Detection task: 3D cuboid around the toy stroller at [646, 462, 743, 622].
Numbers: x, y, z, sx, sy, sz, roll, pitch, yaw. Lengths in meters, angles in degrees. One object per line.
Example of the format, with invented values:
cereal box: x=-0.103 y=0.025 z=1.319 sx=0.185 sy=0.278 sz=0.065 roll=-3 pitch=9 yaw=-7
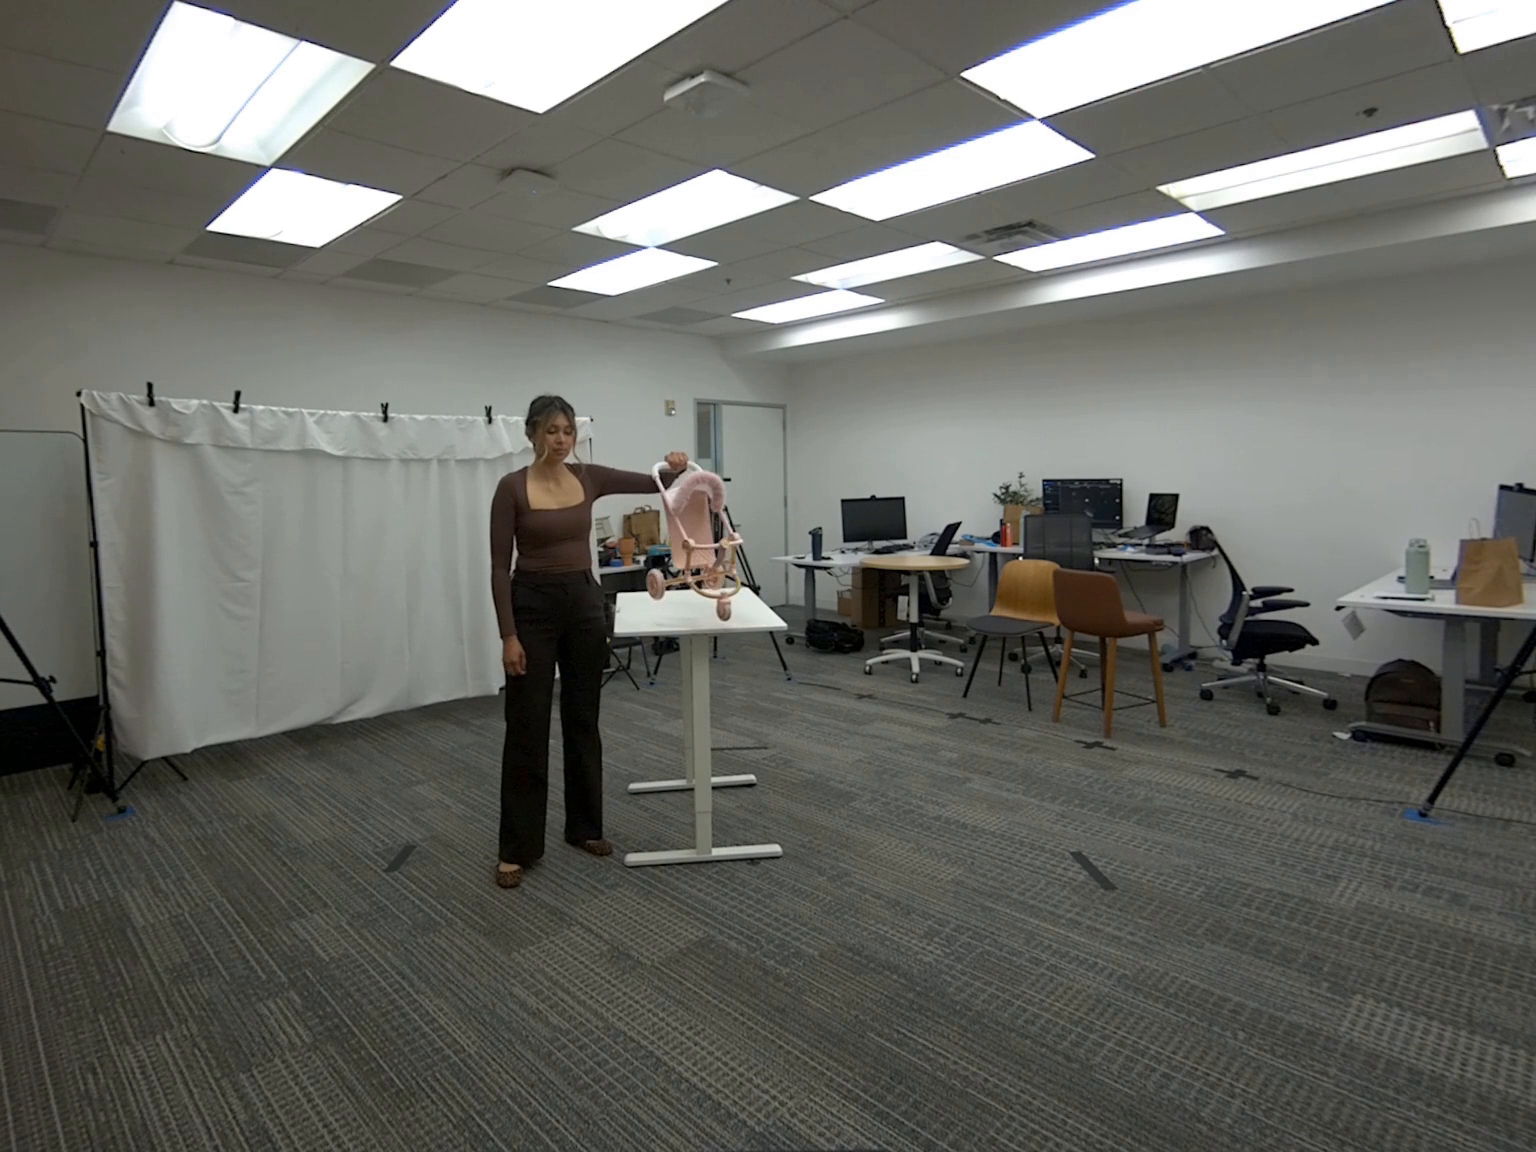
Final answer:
toy stroller: x=-0.235 y=-0.122 z=2.959 sx=0.275 sy=0.532 sz=0.351 roll=-6 pitch=8 yaw=-32
